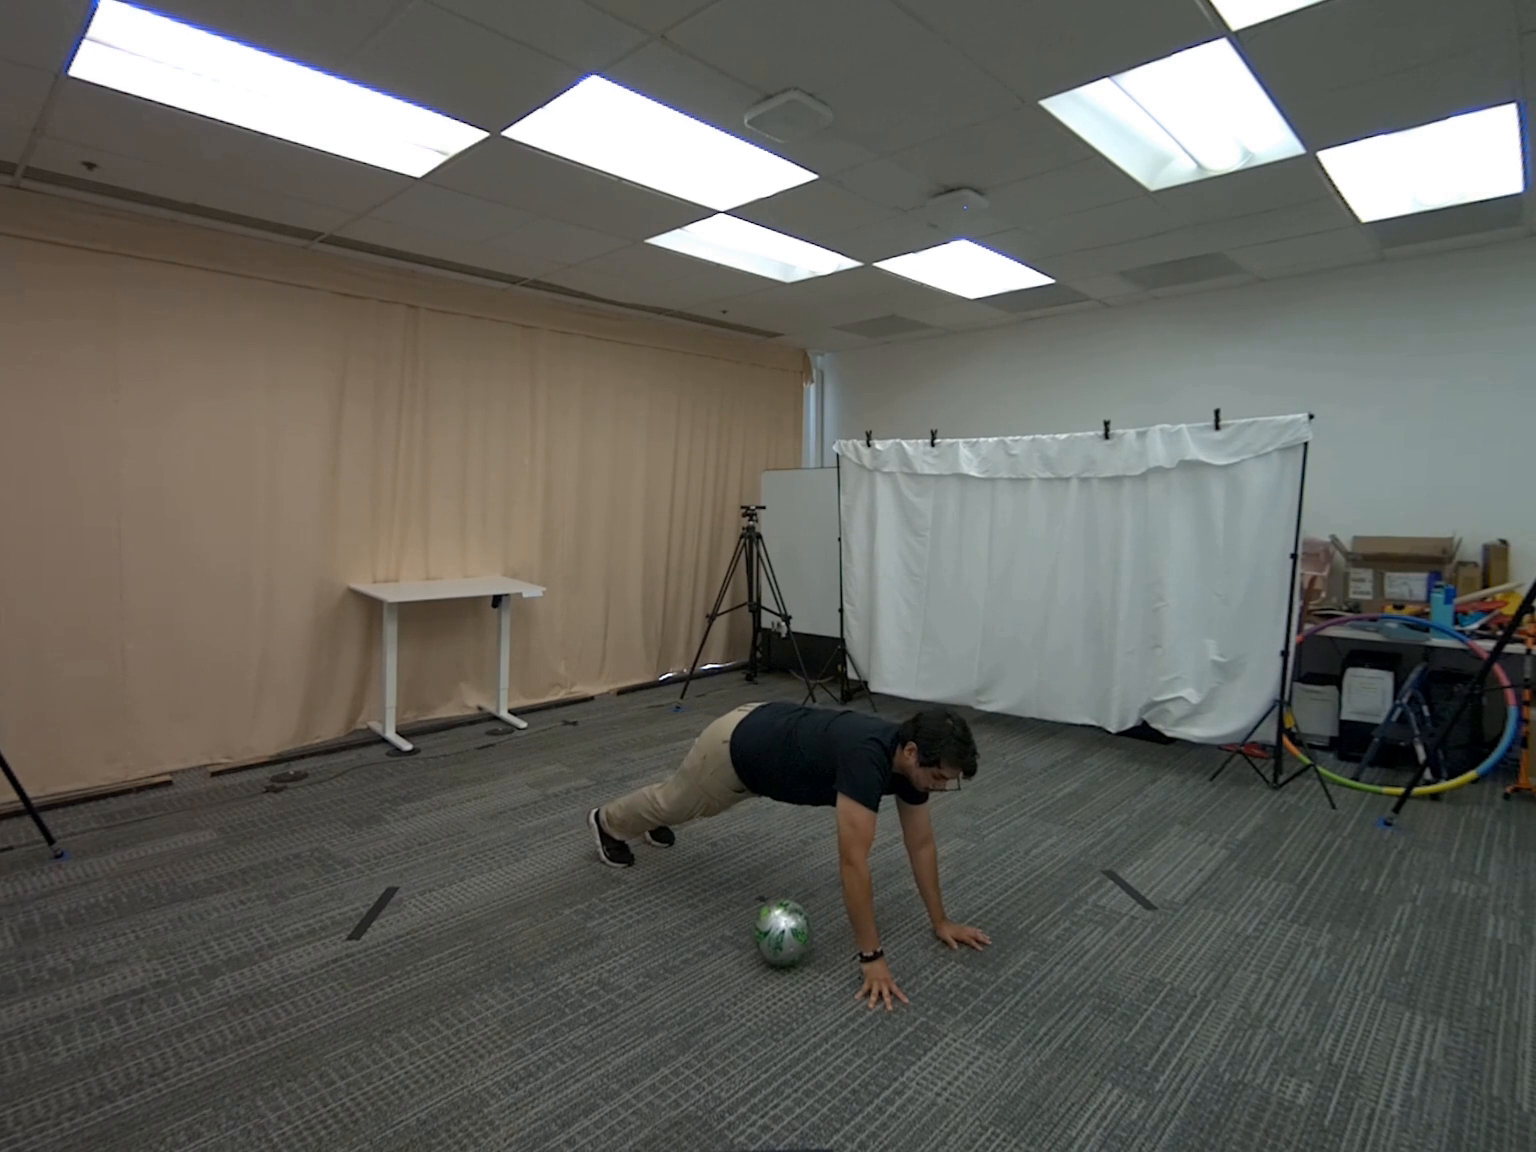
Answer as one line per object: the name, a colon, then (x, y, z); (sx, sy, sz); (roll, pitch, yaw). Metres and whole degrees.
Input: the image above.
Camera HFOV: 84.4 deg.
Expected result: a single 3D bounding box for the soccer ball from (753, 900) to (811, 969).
soccer ball: (0.047, 1.087, 2.564); (0.187, 0.187, 0.188); (0, 4, -2)
